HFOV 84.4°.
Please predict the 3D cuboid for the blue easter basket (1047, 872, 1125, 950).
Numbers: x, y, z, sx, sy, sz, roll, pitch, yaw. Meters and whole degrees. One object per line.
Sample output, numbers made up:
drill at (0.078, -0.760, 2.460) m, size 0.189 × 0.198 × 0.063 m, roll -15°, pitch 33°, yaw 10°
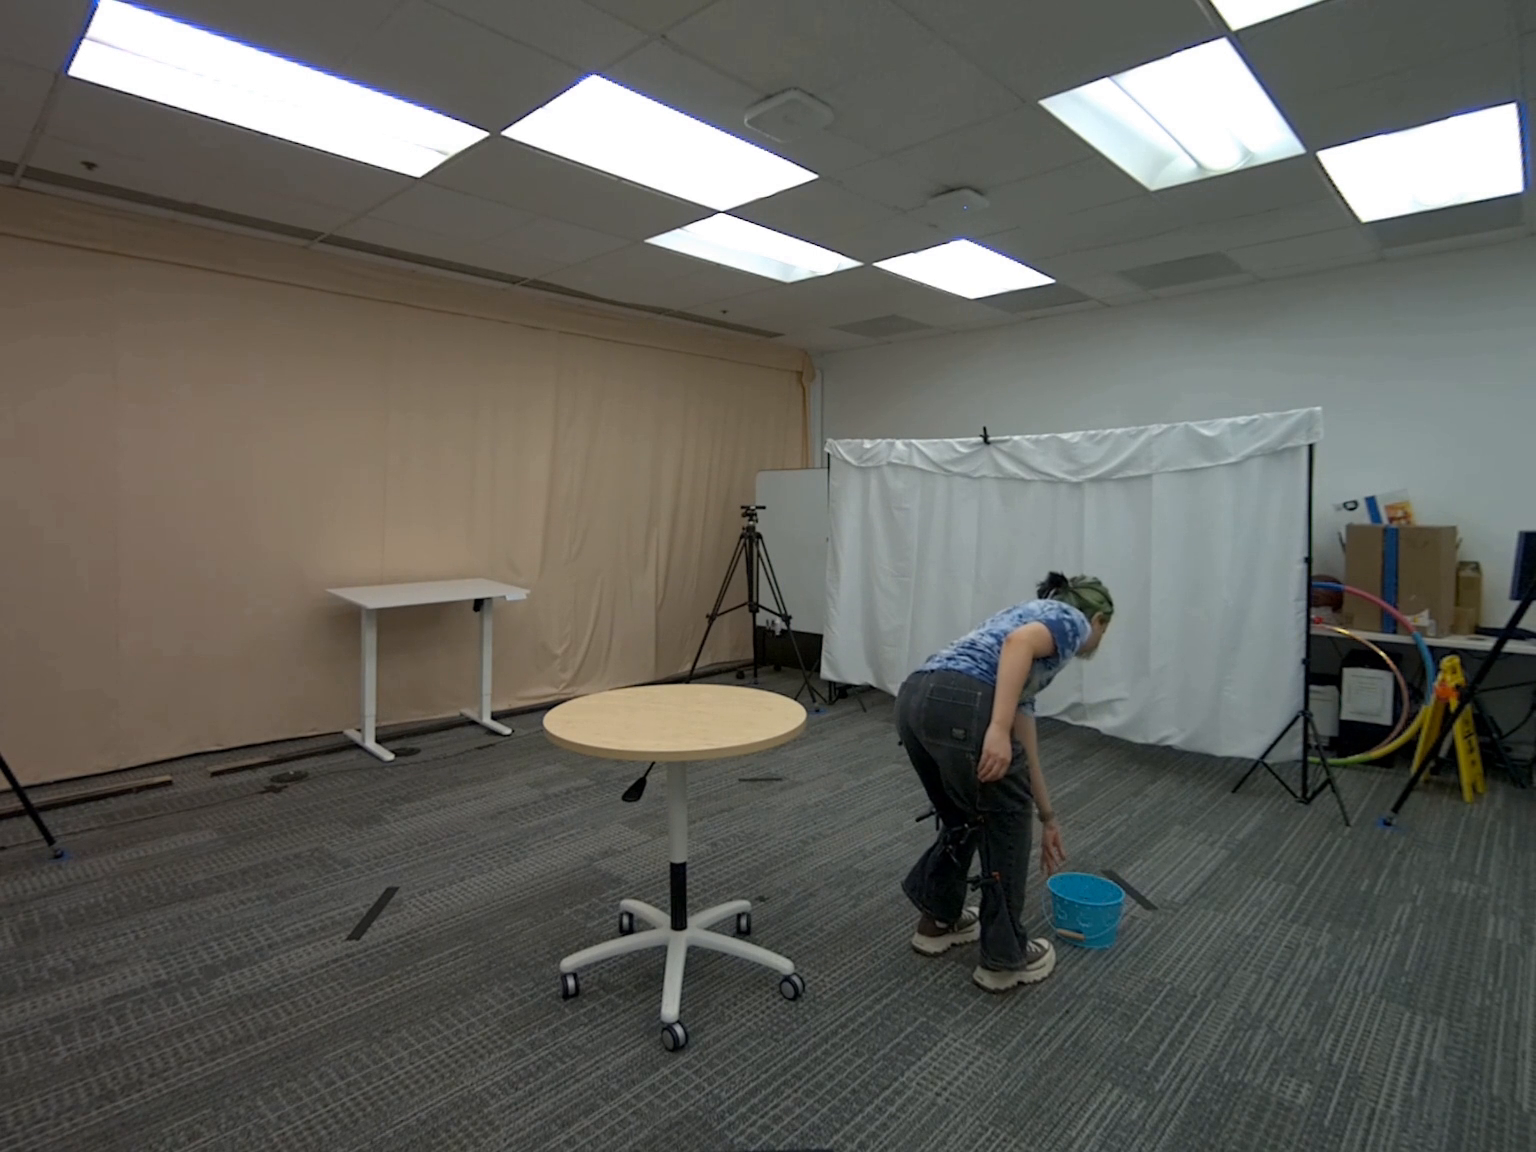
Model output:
blue easter basket at (1.025, 1.085, 2.724) m, size 0.243 × 0.155 × 0.244 m, roll 0°, pitch 3°, yaw -2°
